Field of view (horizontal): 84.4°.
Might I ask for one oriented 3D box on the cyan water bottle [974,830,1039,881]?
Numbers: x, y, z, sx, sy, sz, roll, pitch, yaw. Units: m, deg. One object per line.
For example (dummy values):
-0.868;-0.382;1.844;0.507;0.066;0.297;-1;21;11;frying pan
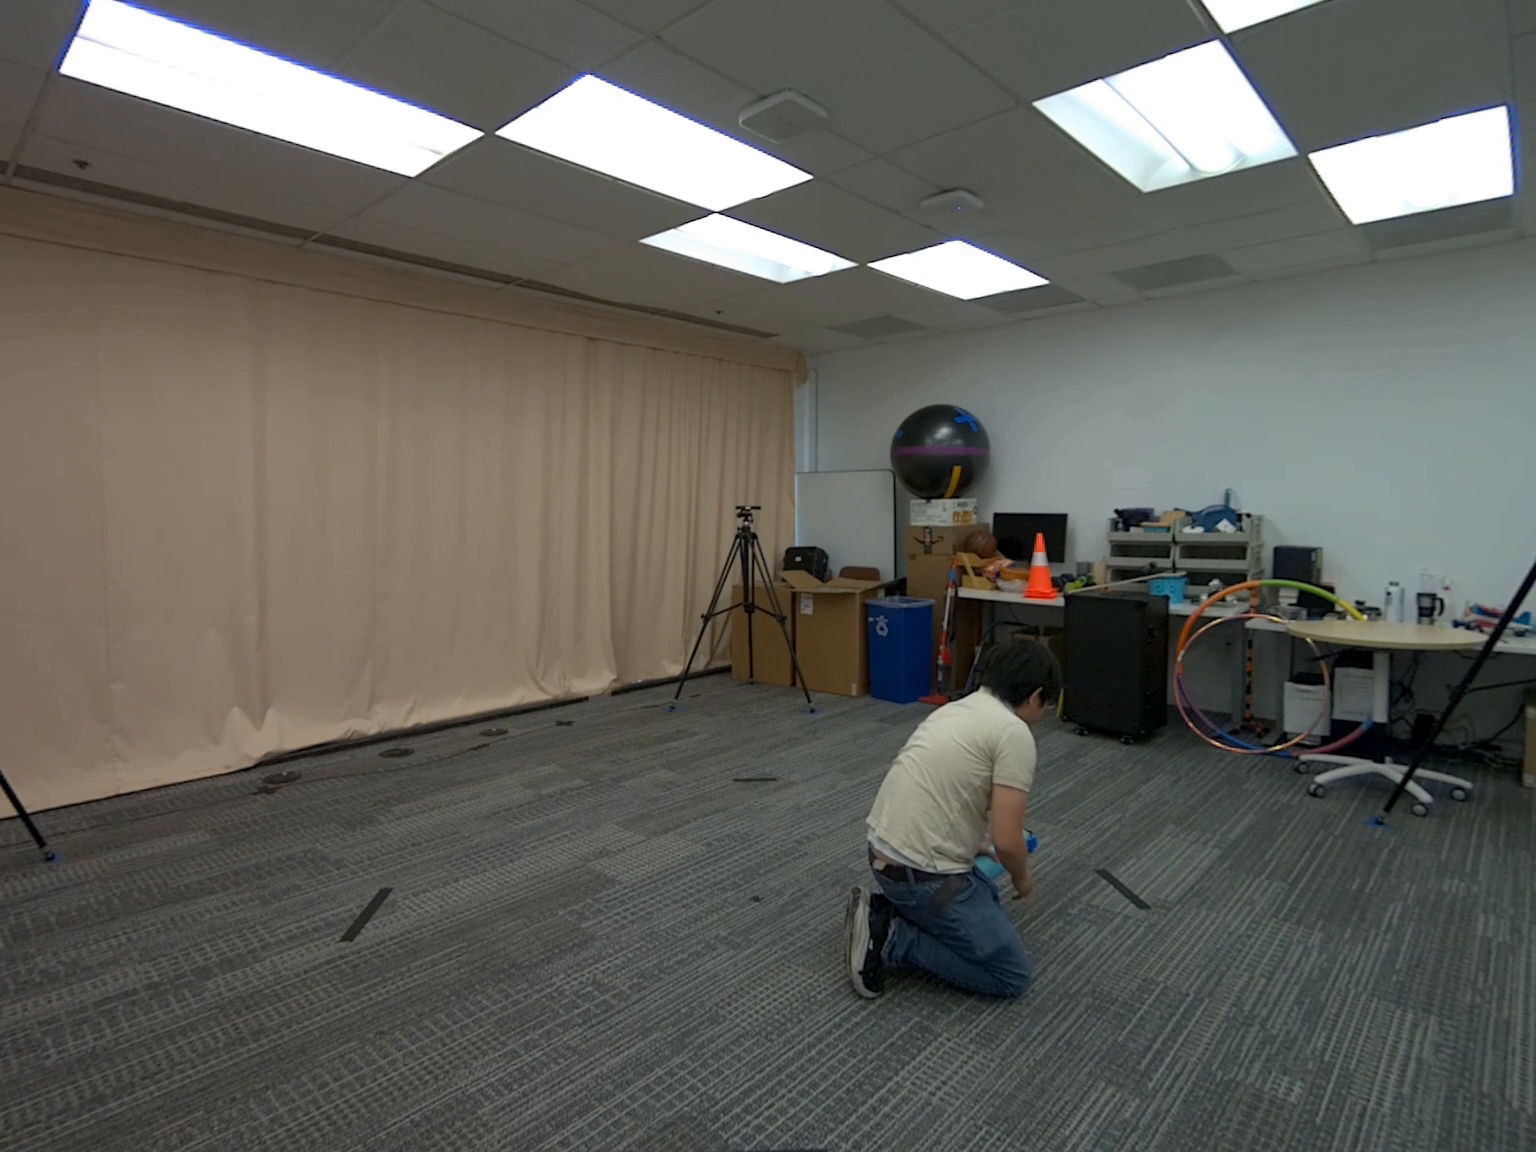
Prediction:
0.809;0.964;2.860;0.280;0.091;0.094;-26;12;-18;cyan water bottle
